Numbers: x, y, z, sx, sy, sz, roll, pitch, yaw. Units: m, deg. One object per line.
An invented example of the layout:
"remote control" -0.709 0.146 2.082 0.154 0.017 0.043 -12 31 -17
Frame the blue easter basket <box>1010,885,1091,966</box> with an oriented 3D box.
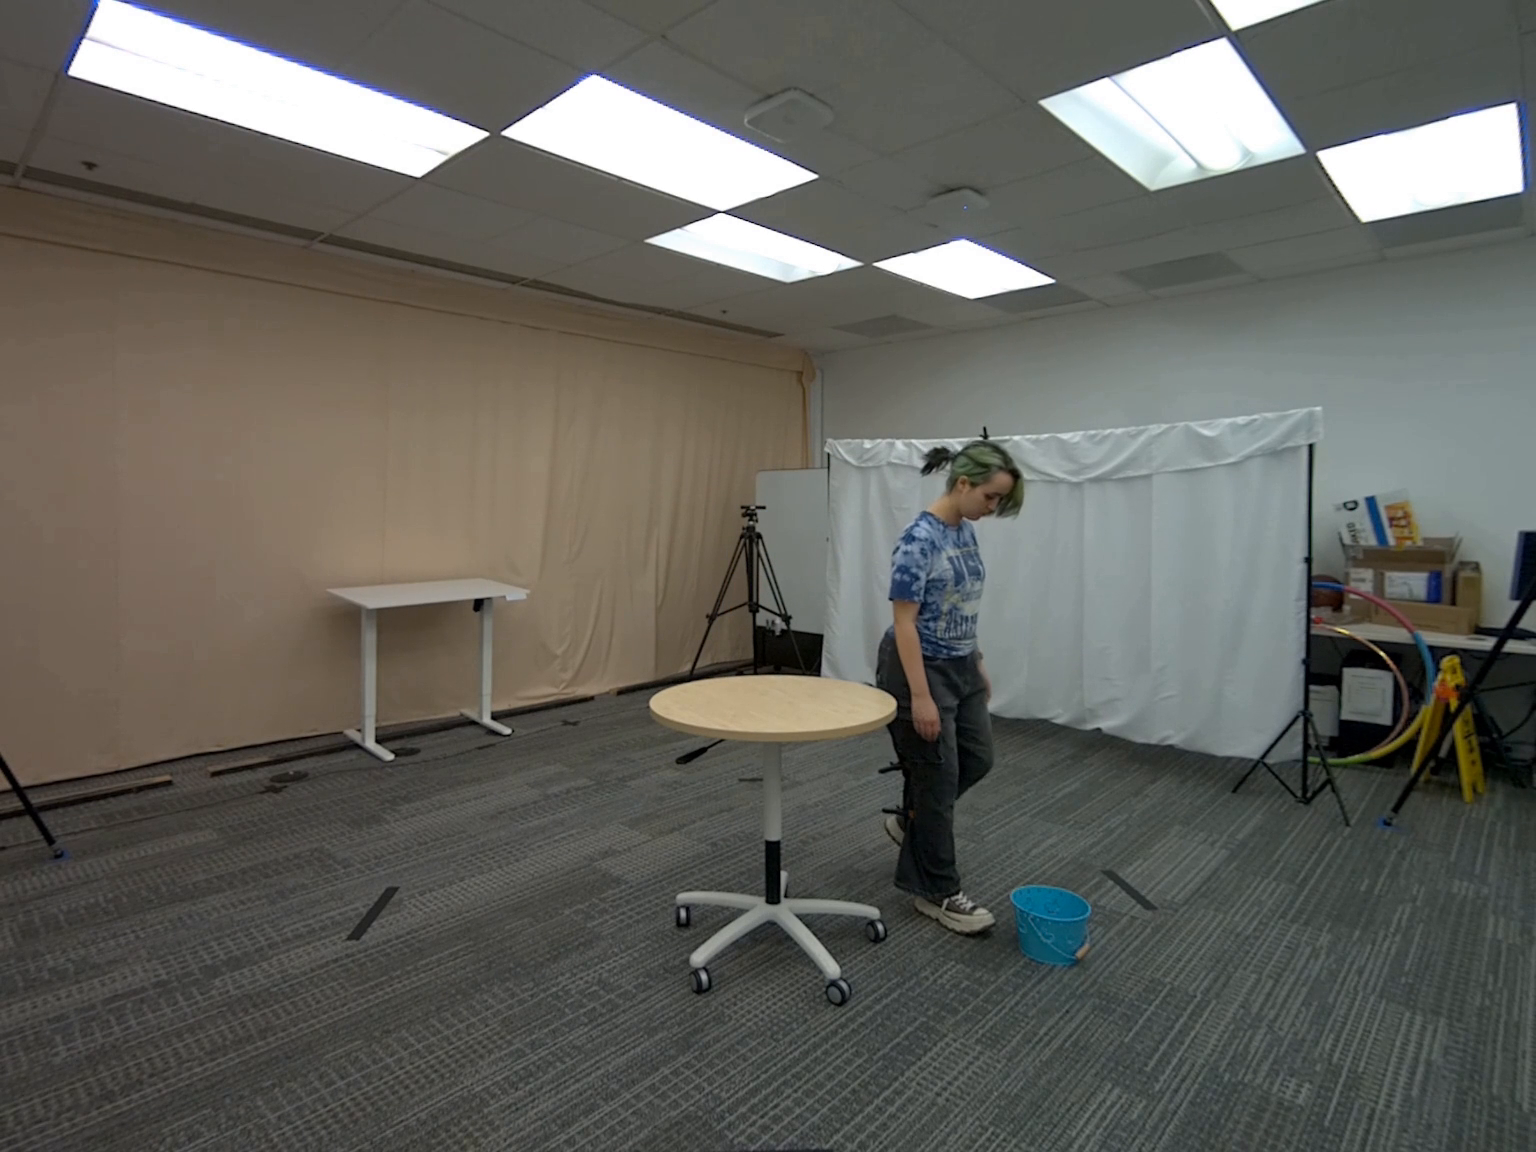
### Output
"blue easter basket" 0.886 1.093 2.626 0.243 0.155 0.244 0 4 -2
